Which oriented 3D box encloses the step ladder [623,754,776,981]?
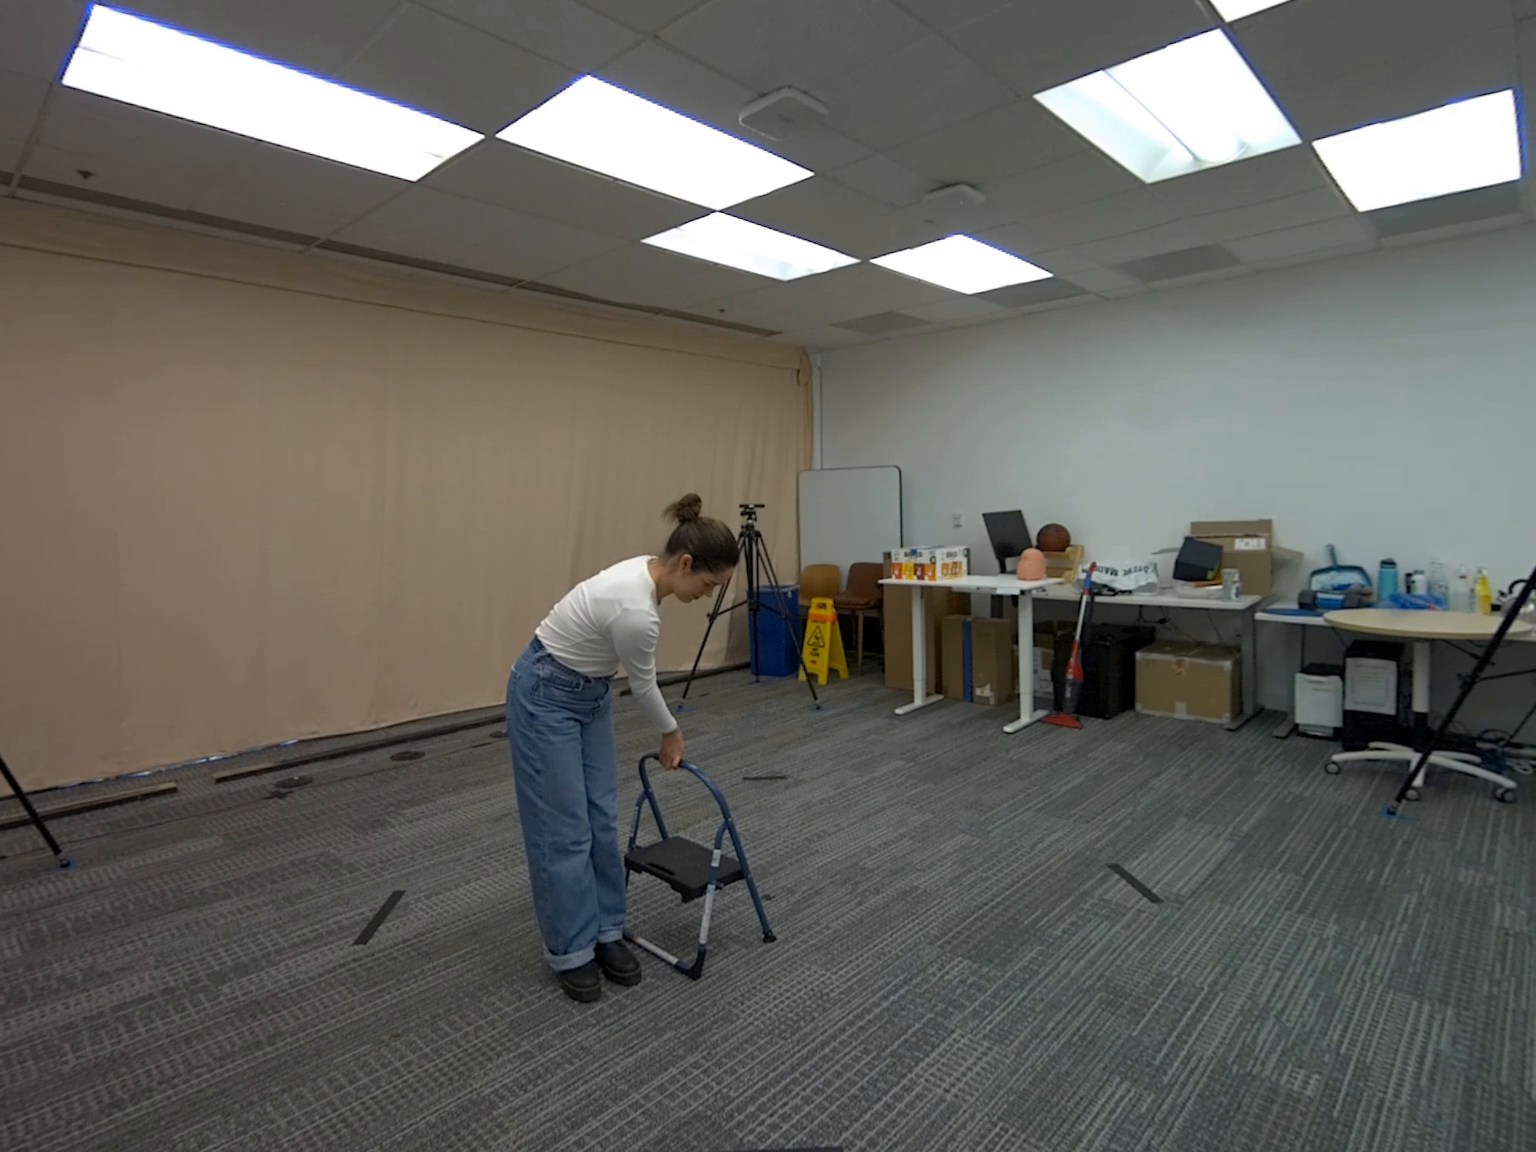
[{"bbox_3d":[-0.249,0.867,2.714,0.445,0.605,0.338,2,4,43],"label":"step ladder"}]
